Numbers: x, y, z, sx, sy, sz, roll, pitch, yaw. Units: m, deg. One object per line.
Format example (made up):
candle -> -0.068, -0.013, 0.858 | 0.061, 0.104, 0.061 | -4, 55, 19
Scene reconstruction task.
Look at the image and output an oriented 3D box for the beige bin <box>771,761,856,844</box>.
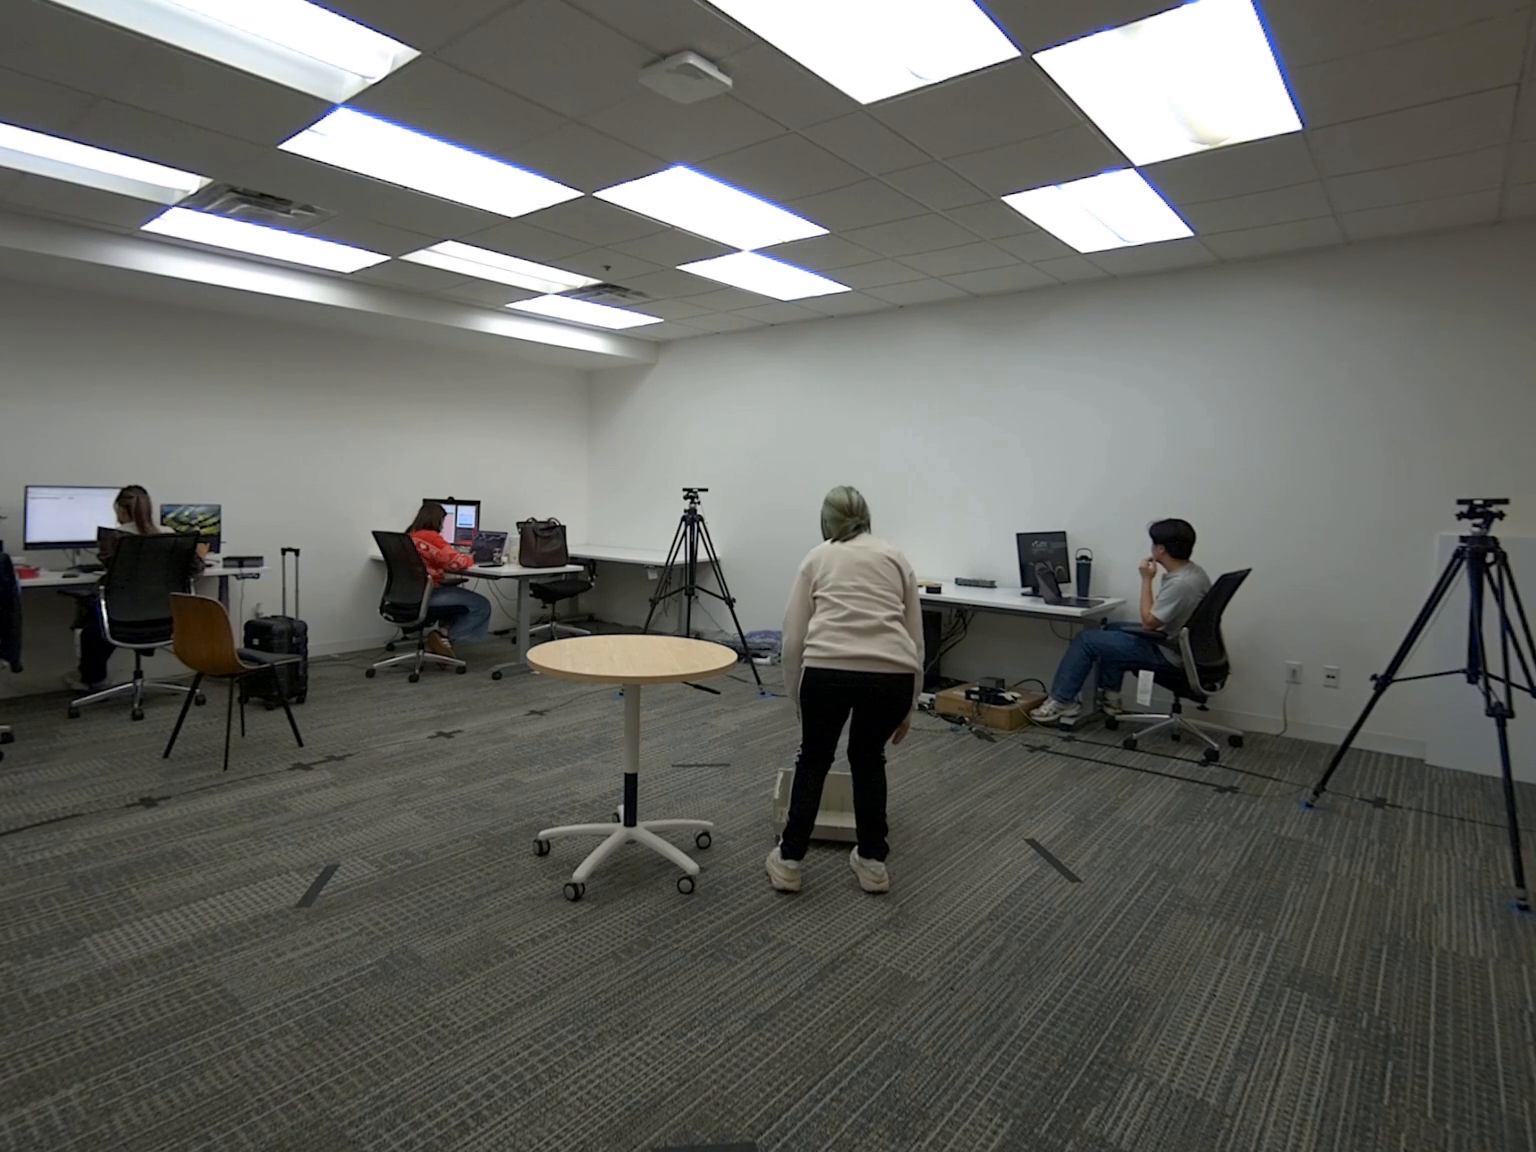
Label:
beige bin -> 0.235, 0.951, 3.499 | 0.426, 0.188, 0.376 | 2, 5, 6
